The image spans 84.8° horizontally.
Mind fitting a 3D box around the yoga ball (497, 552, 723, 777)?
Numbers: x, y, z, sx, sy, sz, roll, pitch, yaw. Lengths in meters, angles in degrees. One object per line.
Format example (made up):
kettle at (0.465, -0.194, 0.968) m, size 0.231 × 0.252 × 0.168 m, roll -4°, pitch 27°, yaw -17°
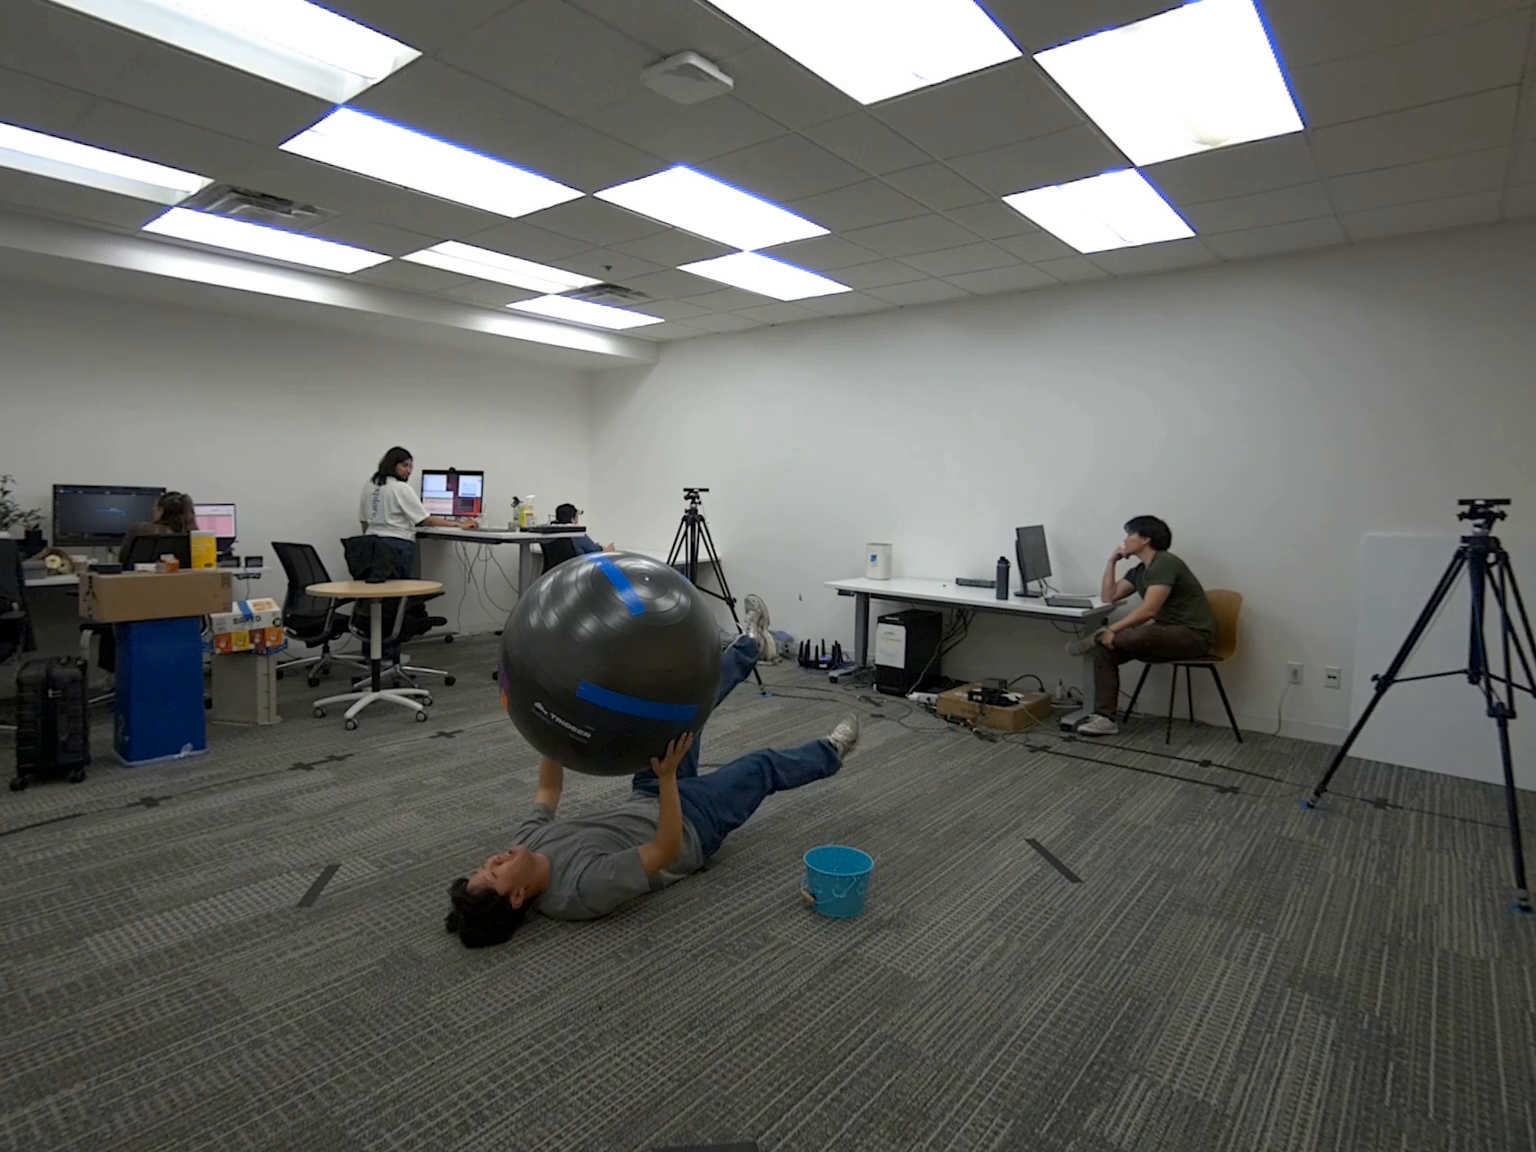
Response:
yoga ball at (-0.547, 0.300, 2.897) m, size 0.757 × 0.756 × 0.762 m, roll 1°, pitch 4°, yaw -2°
